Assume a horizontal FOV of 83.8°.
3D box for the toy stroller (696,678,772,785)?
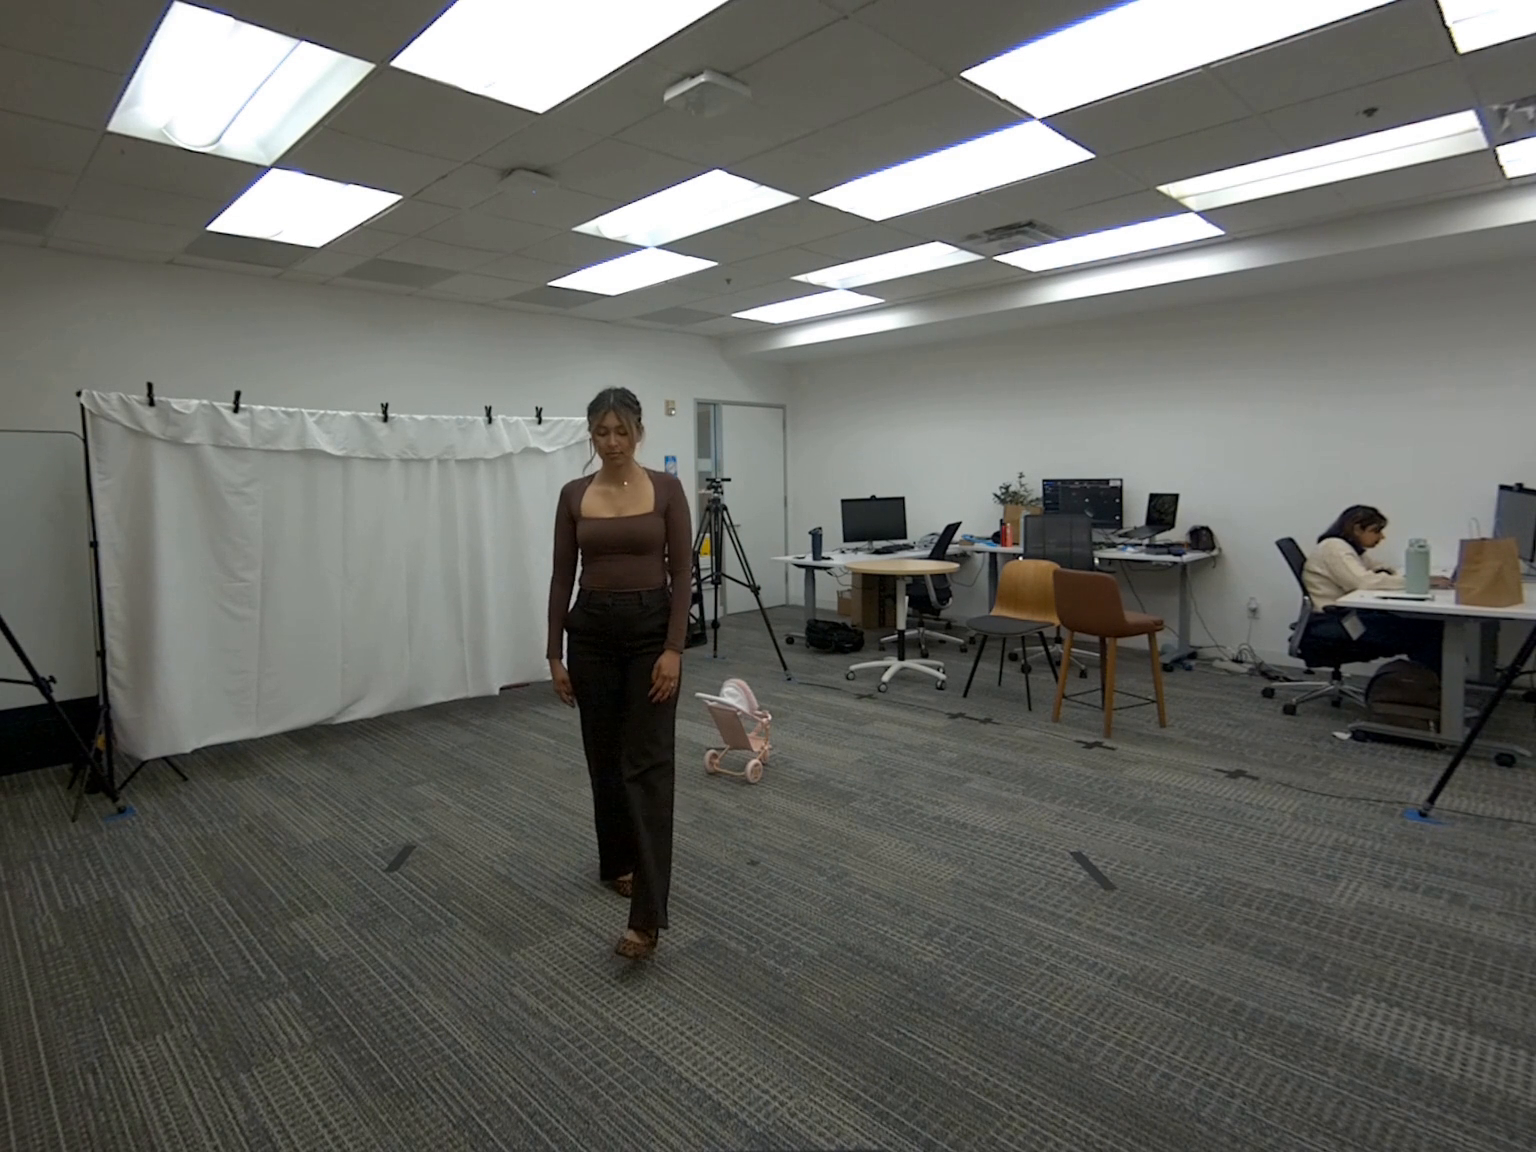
[{"bbox_3d":[-0.131,0.717,4.034,0.290,0.525,0.337,3,23,41],"label":"toy stroller"}]
